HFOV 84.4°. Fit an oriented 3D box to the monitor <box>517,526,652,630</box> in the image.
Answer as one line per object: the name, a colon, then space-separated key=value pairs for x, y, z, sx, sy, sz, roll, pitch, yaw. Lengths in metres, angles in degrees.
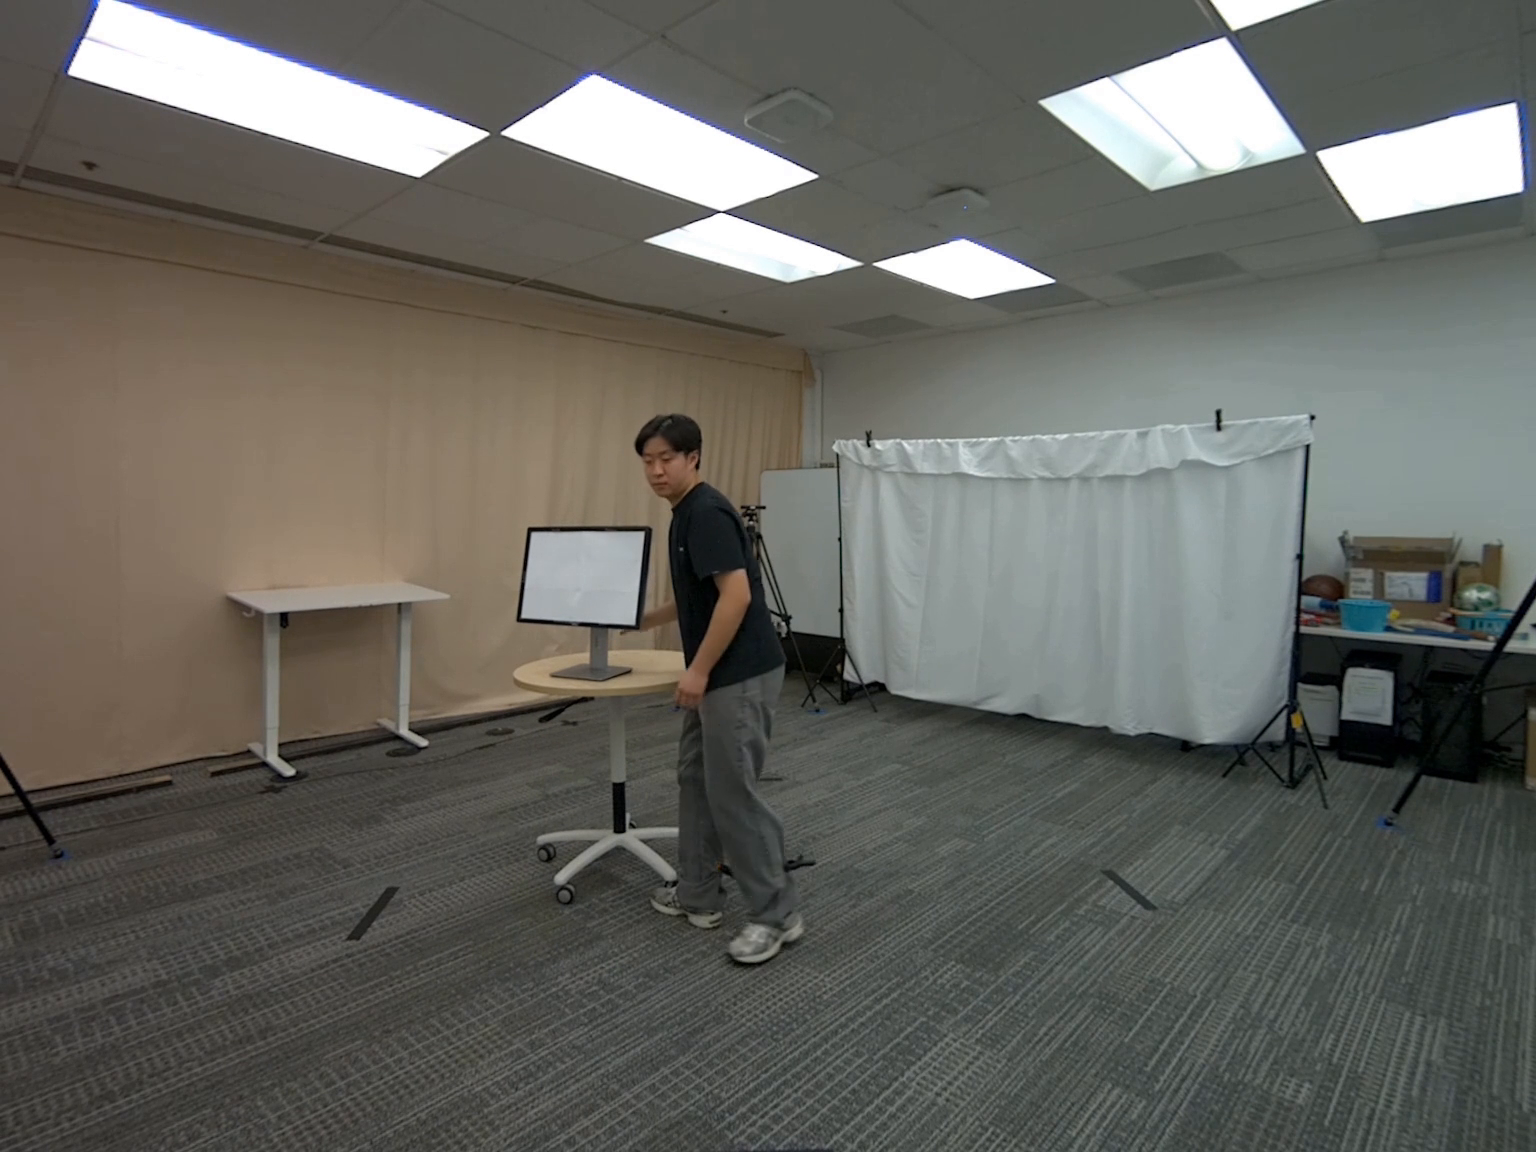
monitor: x=-0.655 y=0.103 z=3.077 sx=0.578 sy=0.564 sz=0.216 roll=1 pitch=6 yaw=30
